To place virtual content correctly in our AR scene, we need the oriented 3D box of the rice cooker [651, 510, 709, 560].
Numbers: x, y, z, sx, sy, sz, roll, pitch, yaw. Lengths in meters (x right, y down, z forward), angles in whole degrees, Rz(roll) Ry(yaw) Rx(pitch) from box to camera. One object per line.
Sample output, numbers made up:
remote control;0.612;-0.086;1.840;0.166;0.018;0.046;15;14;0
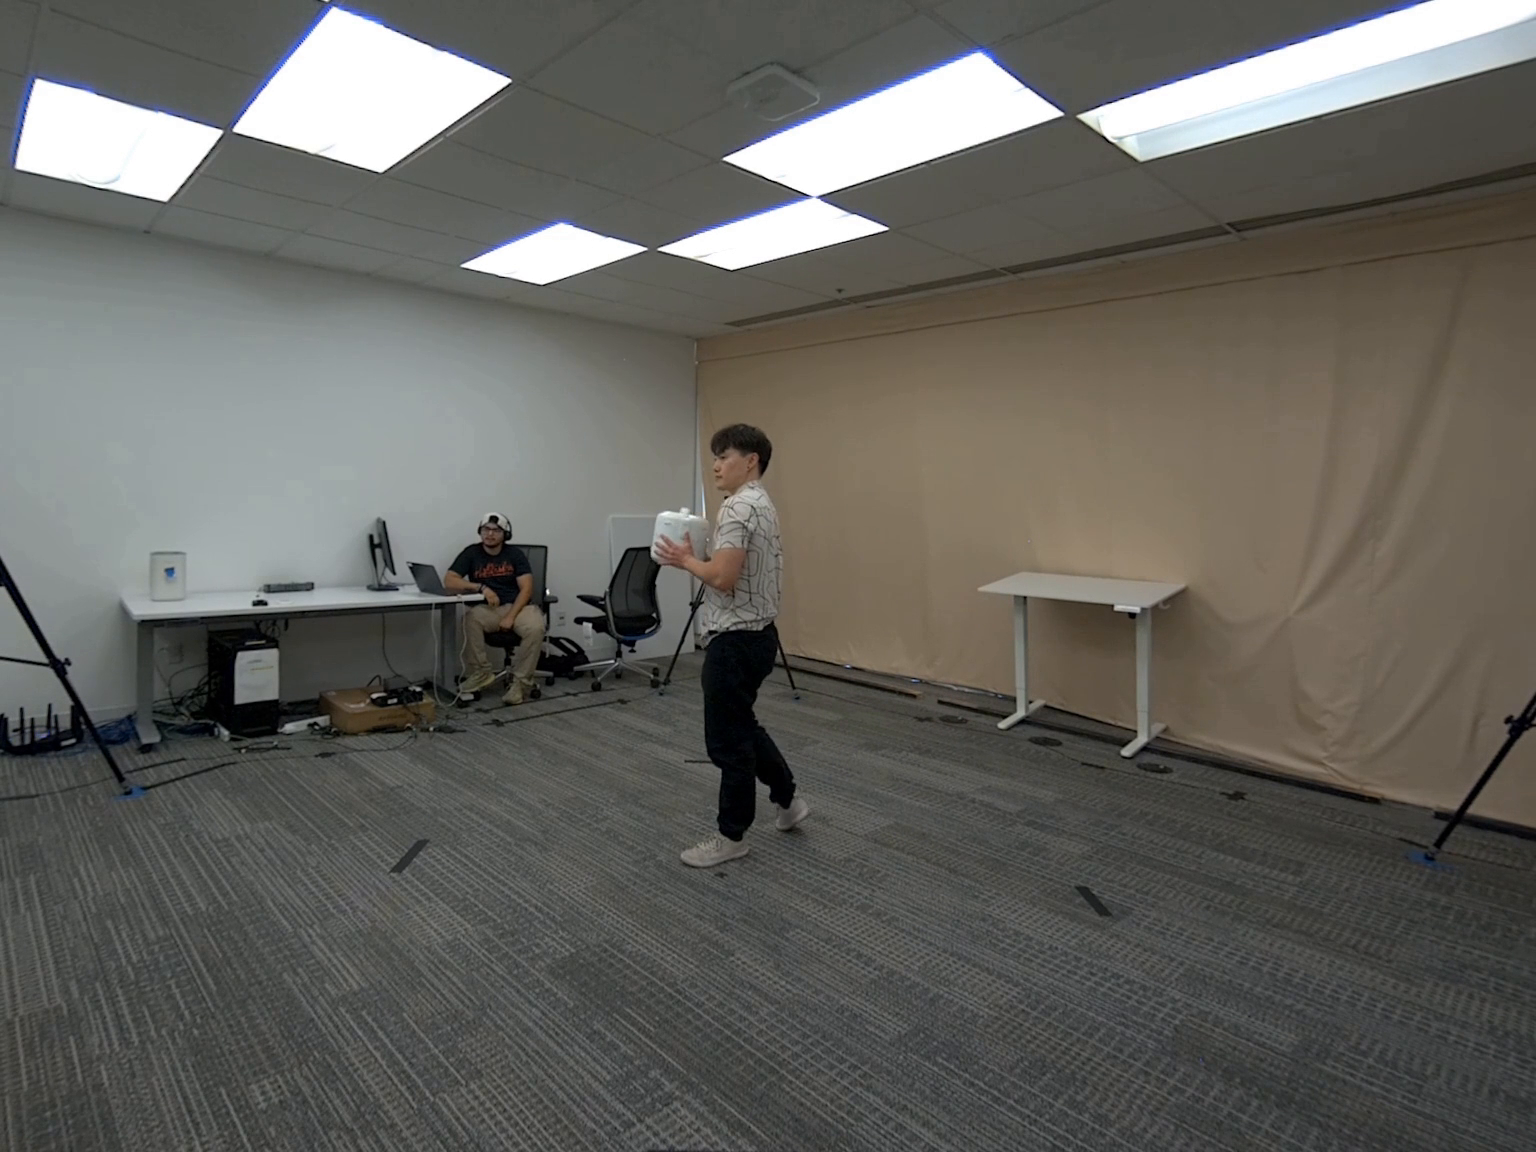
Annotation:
rice cooker;-0.350;-0.154;3.339;0.216;0.232;0.222;8;2;-9
